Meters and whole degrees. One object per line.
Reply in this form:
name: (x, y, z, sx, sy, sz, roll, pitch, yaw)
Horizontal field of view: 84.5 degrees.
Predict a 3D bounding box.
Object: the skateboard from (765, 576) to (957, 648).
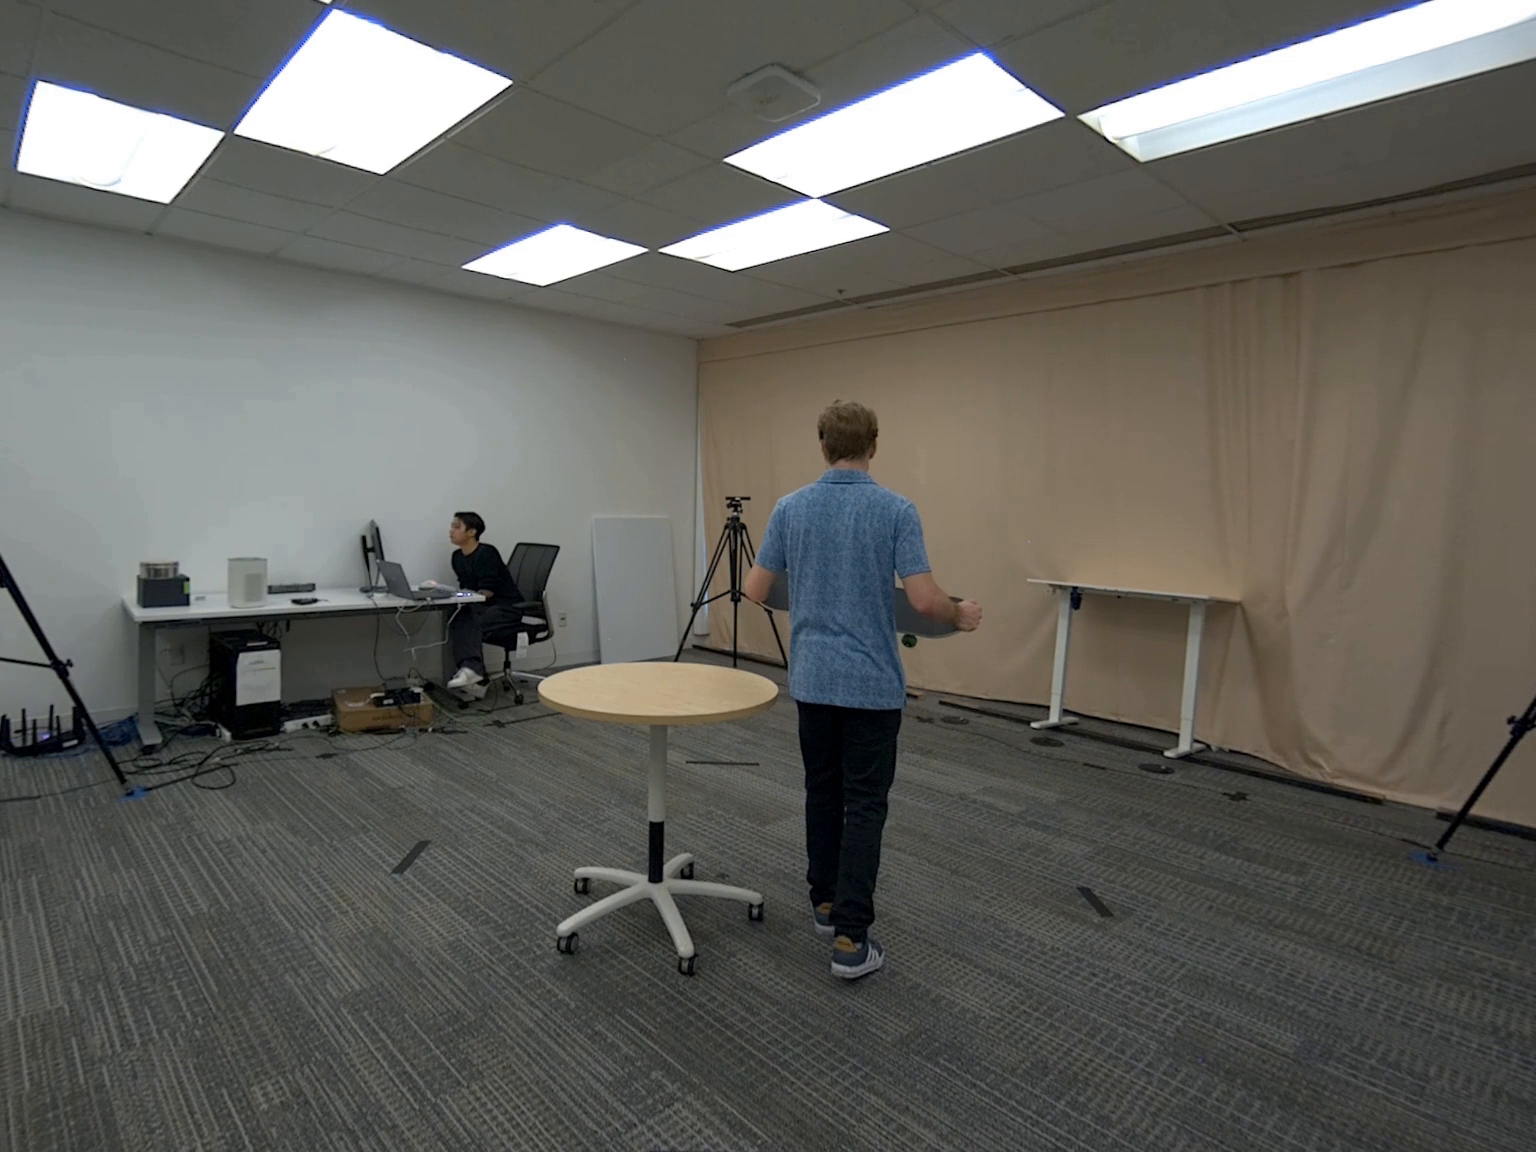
skateboard: (0.317, 0.125, 2.919, 0.802, 0.107, 0.195, 8, 47, 25)
